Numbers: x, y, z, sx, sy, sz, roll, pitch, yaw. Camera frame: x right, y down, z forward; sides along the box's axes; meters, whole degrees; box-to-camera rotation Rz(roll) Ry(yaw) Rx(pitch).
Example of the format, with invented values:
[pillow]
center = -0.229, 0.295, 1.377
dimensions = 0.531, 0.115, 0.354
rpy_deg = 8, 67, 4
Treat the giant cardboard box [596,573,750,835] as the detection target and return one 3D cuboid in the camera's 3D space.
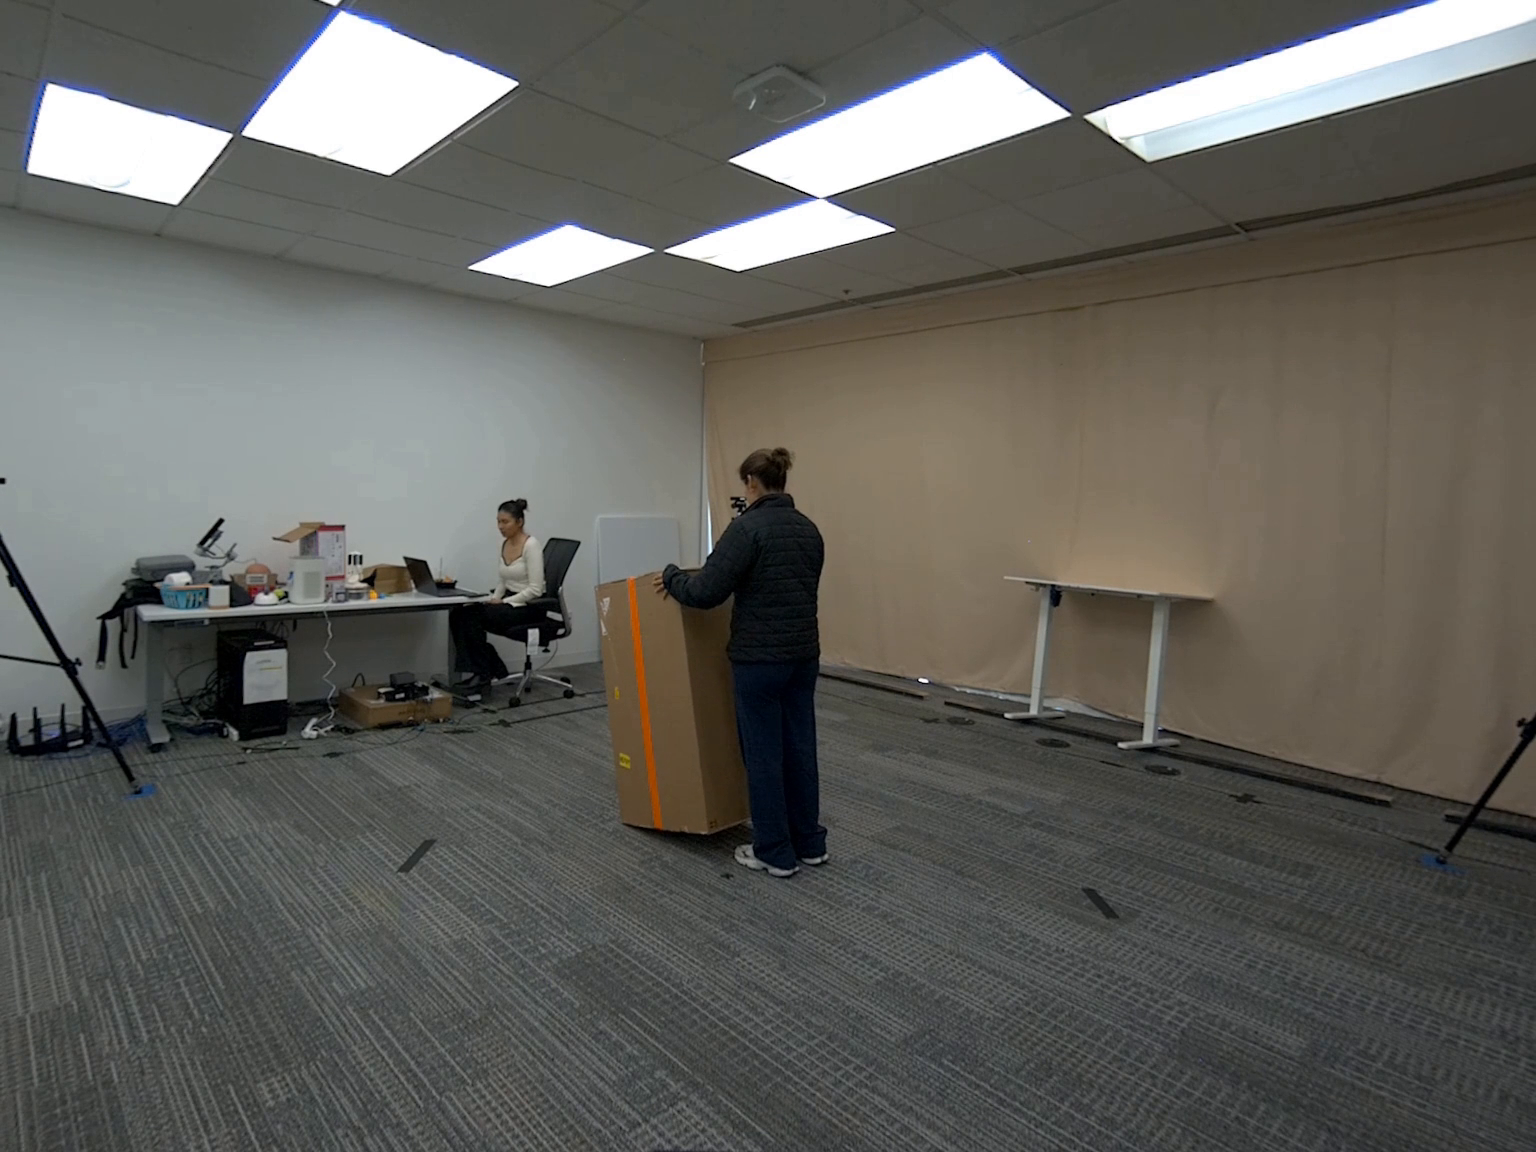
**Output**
[giant cardboard box]
center = -0.360, 0.507, 3.562
dimensions = 0.416, 1.031, 0.588
rpy_deg = -2, -8, -44
